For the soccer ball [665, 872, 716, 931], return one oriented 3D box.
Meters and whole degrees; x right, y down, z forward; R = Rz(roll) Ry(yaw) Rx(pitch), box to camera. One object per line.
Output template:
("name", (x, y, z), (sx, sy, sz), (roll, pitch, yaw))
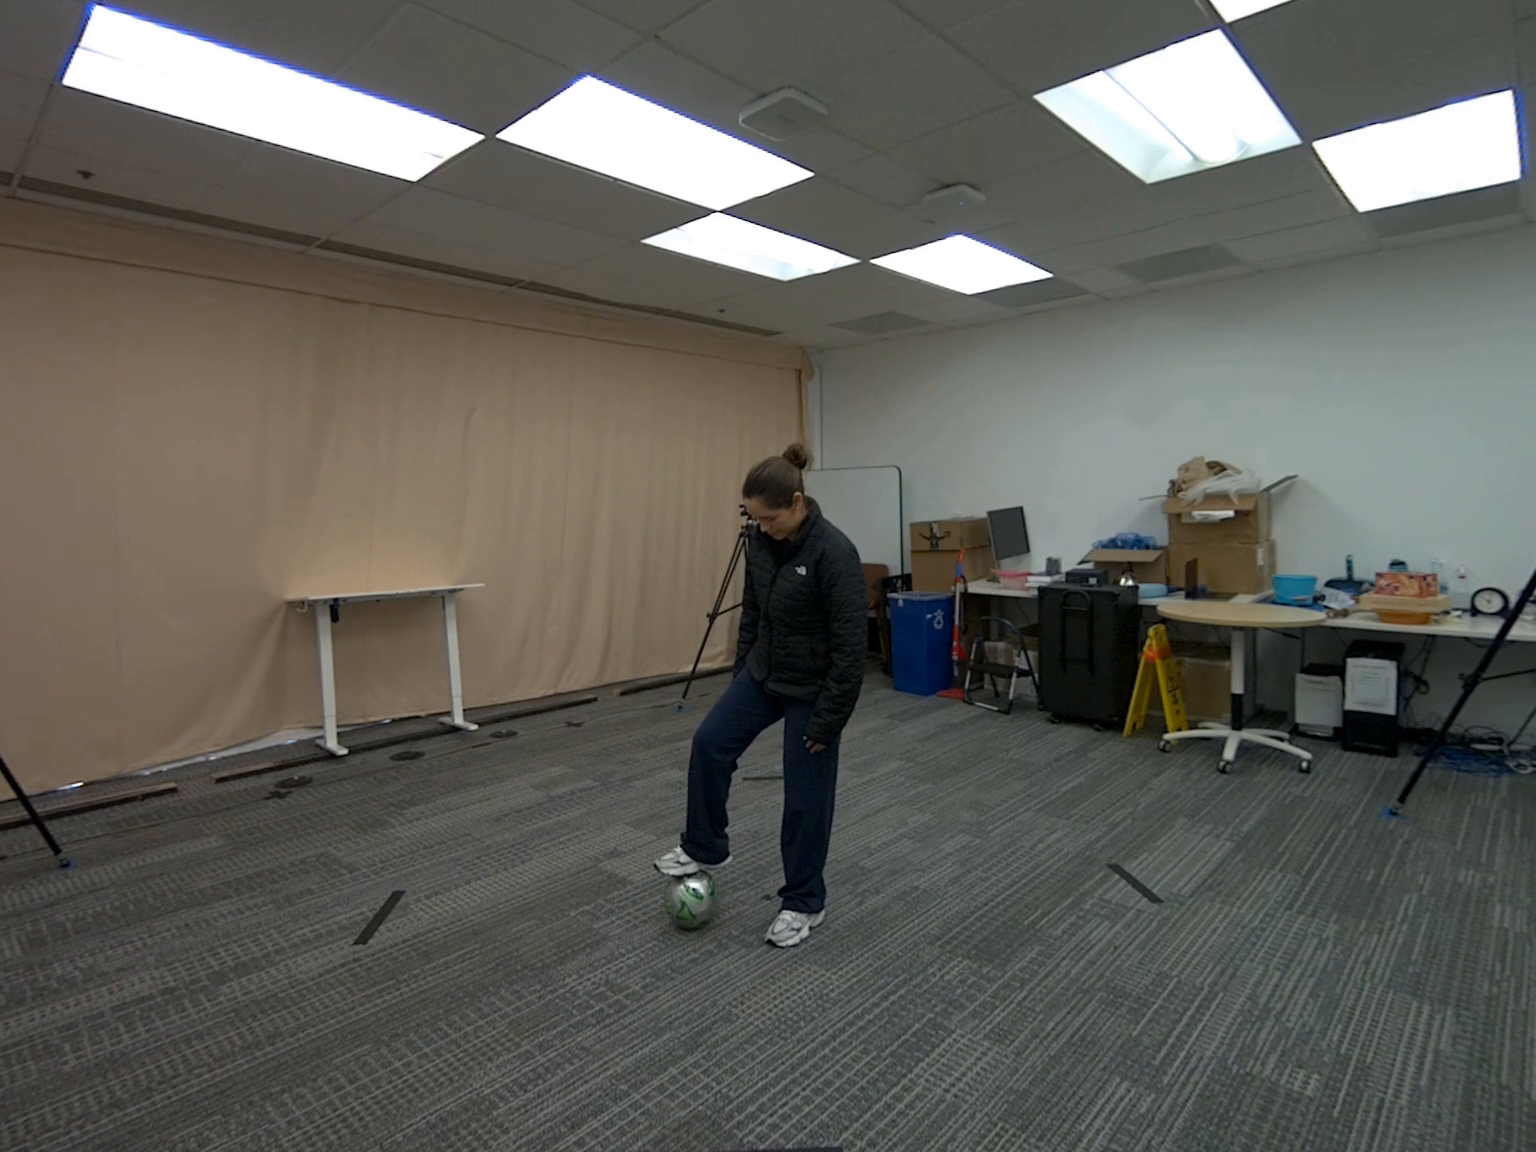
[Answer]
("soccer ball", (-0.245, 1.067, 2.796), (0.187, 0.187, 0.188), (-1, 4, -2))
